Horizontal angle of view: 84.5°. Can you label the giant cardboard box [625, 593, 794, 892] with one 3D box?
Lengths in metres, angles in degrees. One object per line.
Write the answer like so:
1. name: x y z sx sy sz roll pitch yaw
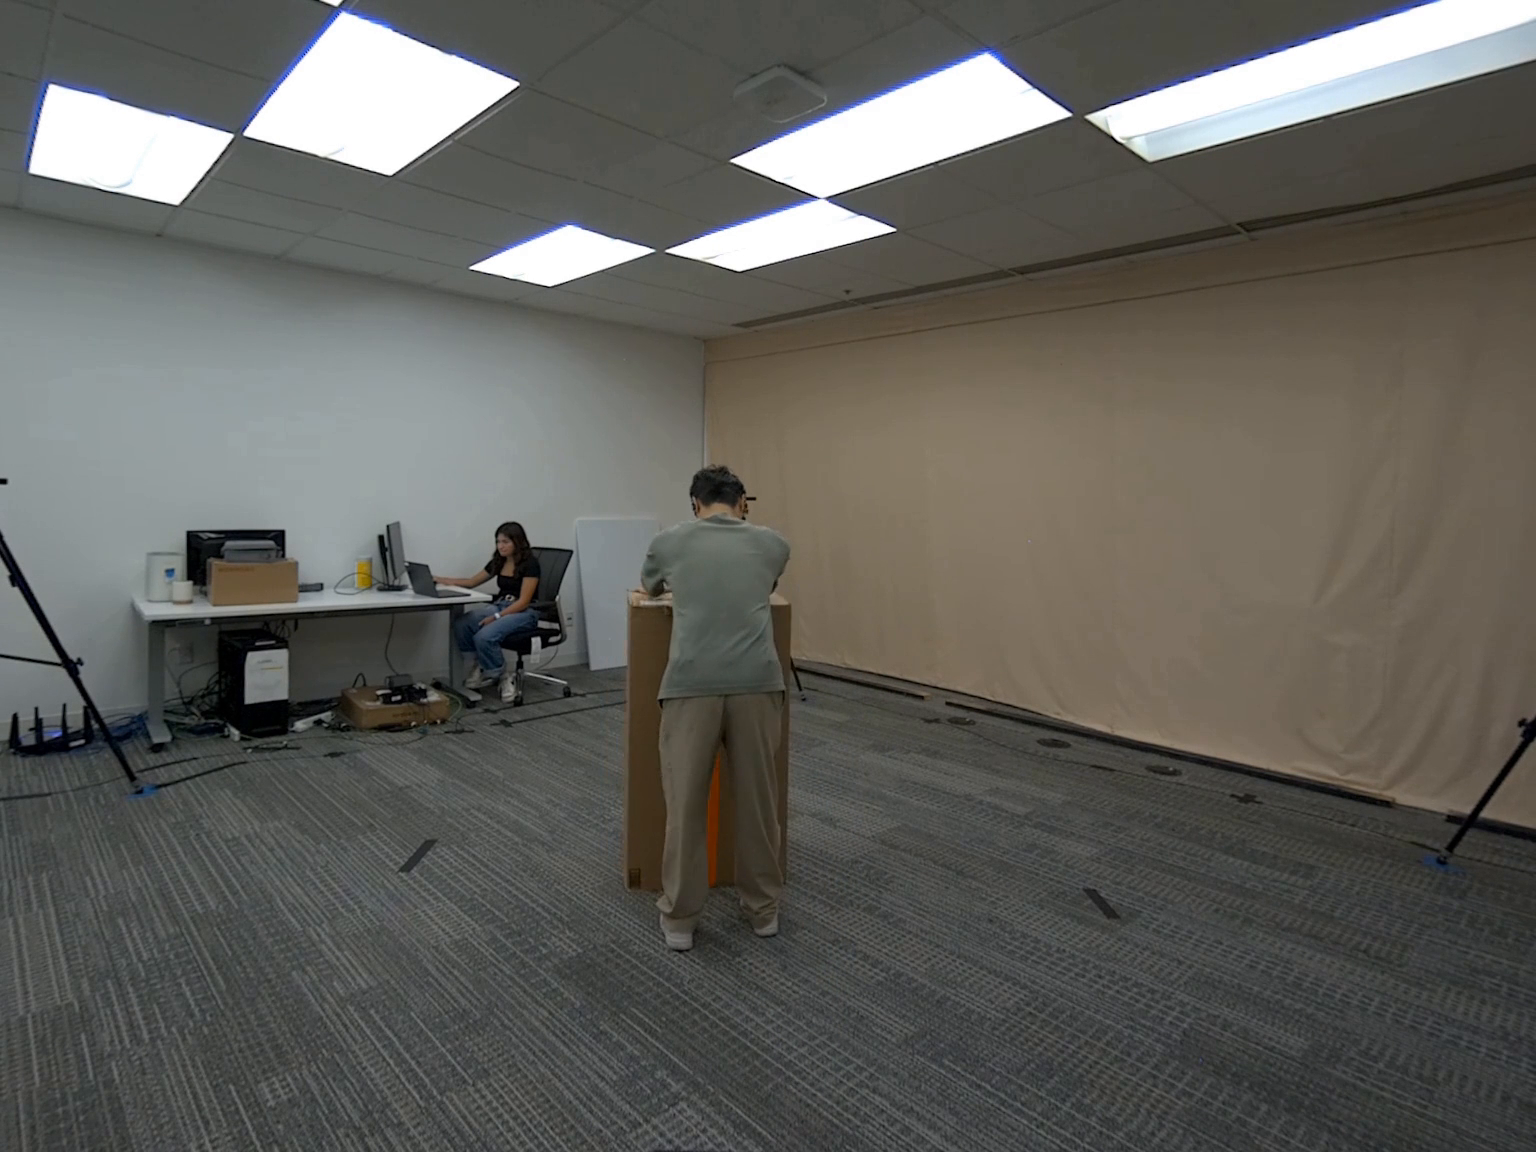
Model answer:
1. giant cardboard box: -0.254 0.586 3.181 0.573 1.023 0.430 0 4 -10
